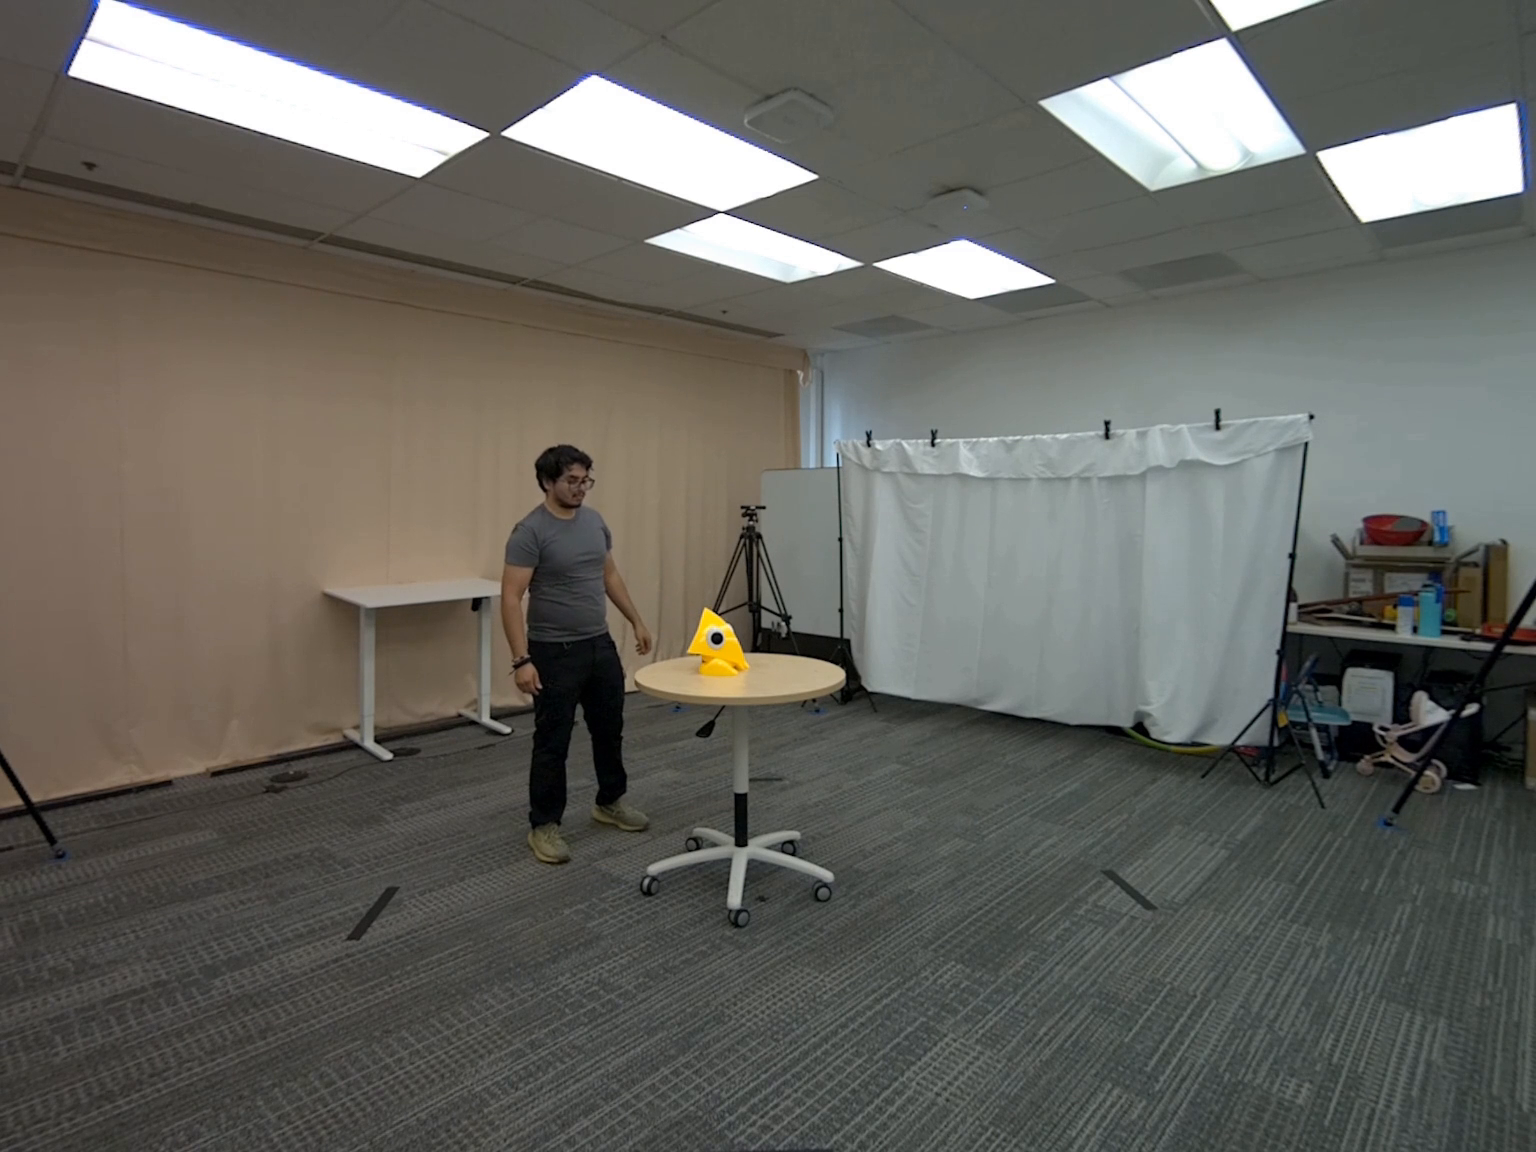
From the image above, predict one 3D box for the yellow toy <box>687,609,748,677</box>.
[{"bbox_3d":[-0.173,0.236,3.112,0.197,0.230,0.201,1,5,20],"label":"yellow toy"}]
